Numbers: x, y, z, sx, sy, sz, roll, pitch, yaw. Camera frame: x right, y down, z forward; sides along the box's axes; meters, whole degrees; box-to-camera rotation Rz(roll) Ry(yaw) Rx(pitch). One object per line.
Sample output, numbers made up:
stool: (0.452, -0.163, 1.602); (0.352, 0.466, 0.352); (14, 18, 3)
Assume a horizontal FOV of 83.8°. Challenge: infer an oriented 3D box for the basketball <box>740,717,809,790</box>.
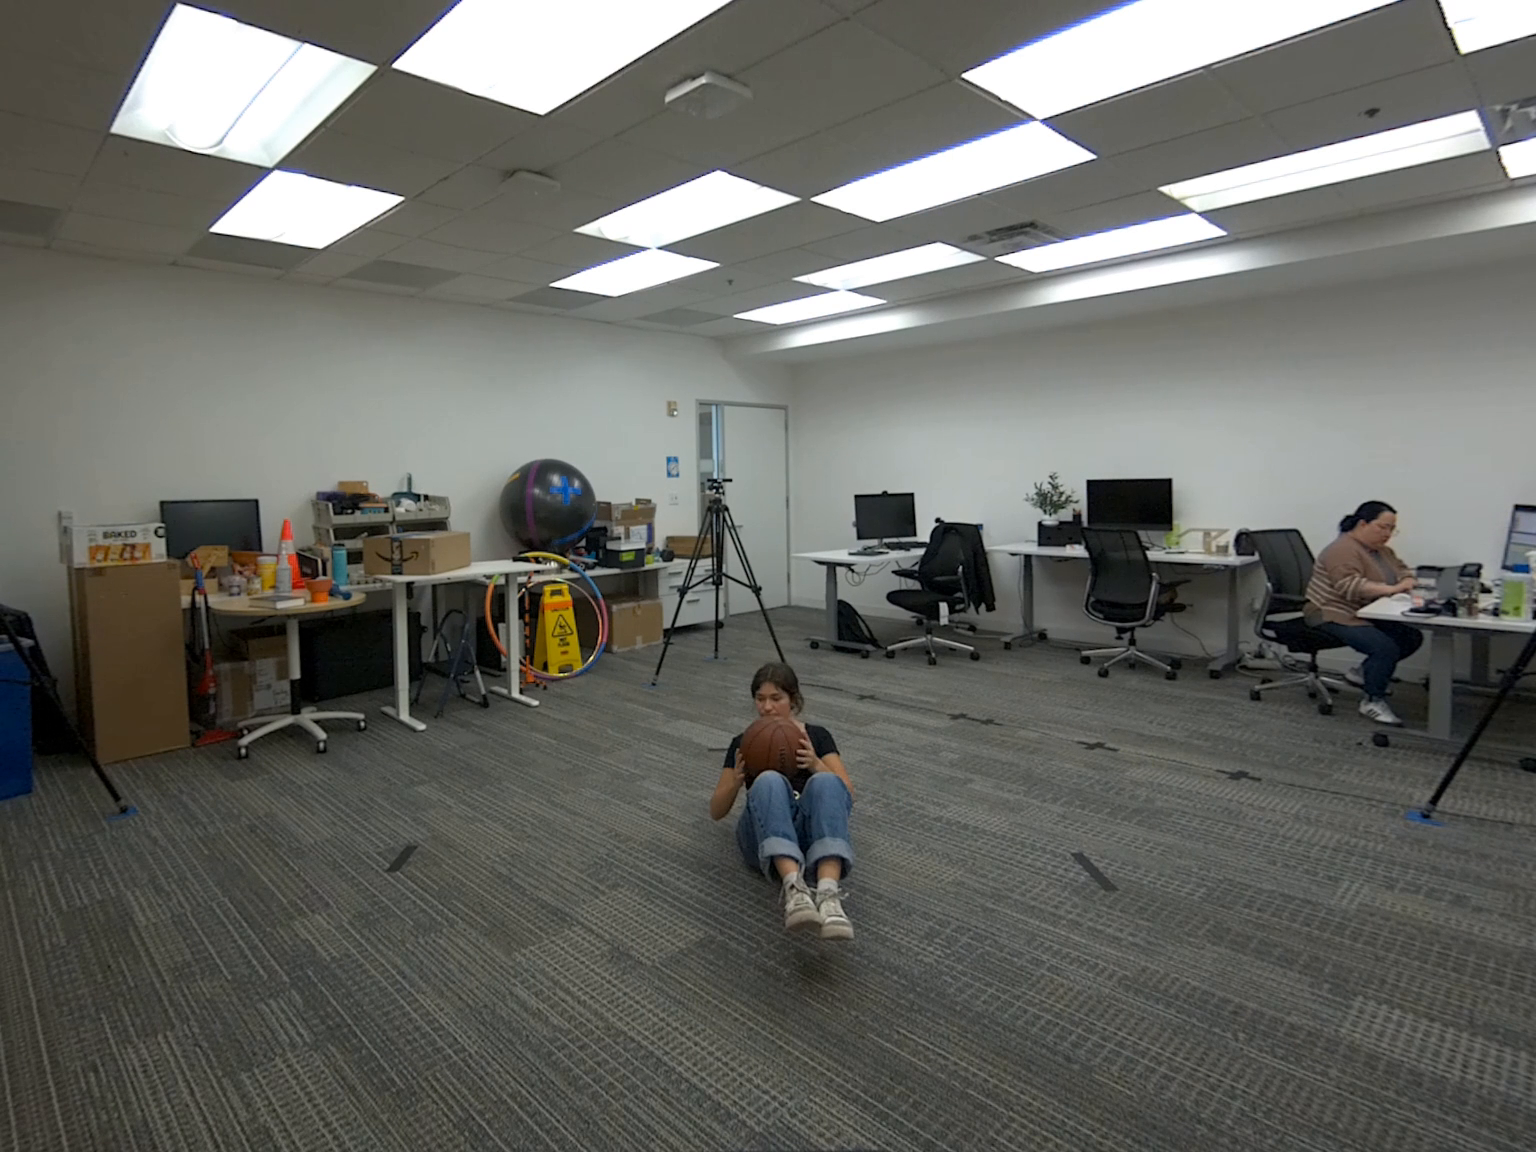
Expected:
basketball: (0.008, 0.635, 3.096); (0.236, 0.235, 0.237); (-1, 5, -2)
